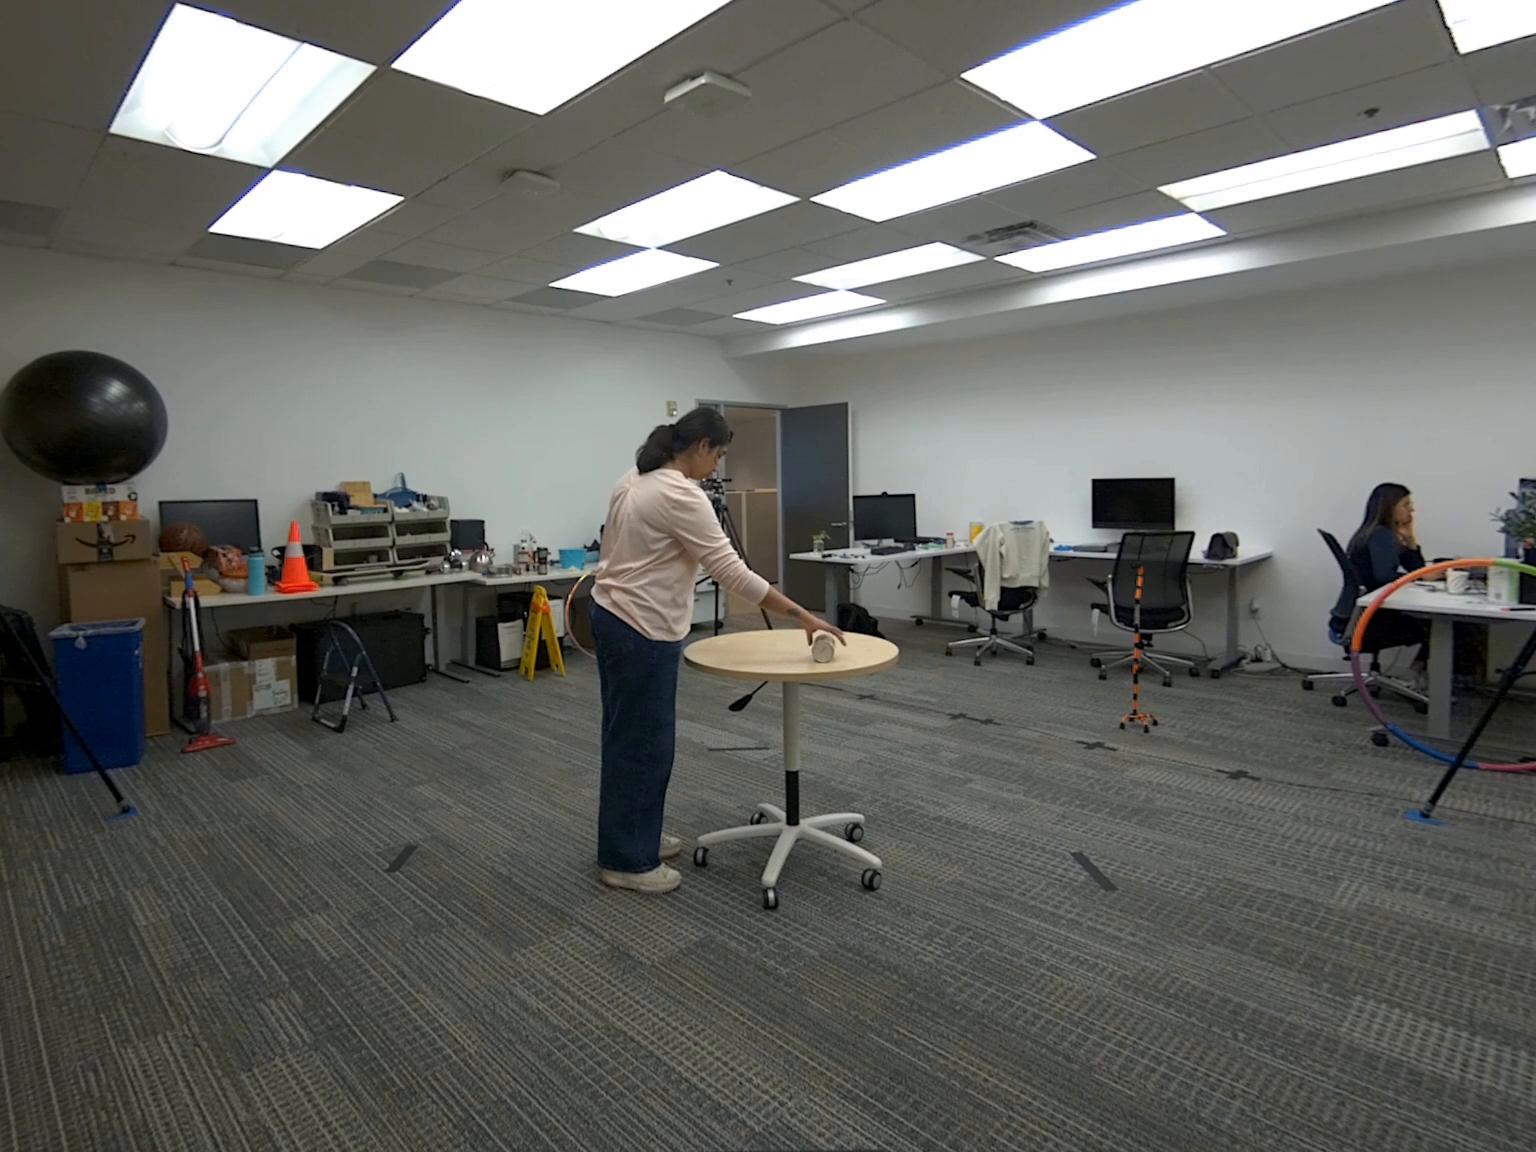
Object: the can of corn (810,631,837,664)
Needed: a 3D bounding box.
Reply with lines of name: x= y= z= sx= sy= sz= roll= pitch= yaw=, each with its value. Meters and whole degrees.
can of corn: x=0.190 y=0.242 z=2.874 sx=0.075 sy=0.074 sz=0.111 roll=0 pitch=6 yaw=7
